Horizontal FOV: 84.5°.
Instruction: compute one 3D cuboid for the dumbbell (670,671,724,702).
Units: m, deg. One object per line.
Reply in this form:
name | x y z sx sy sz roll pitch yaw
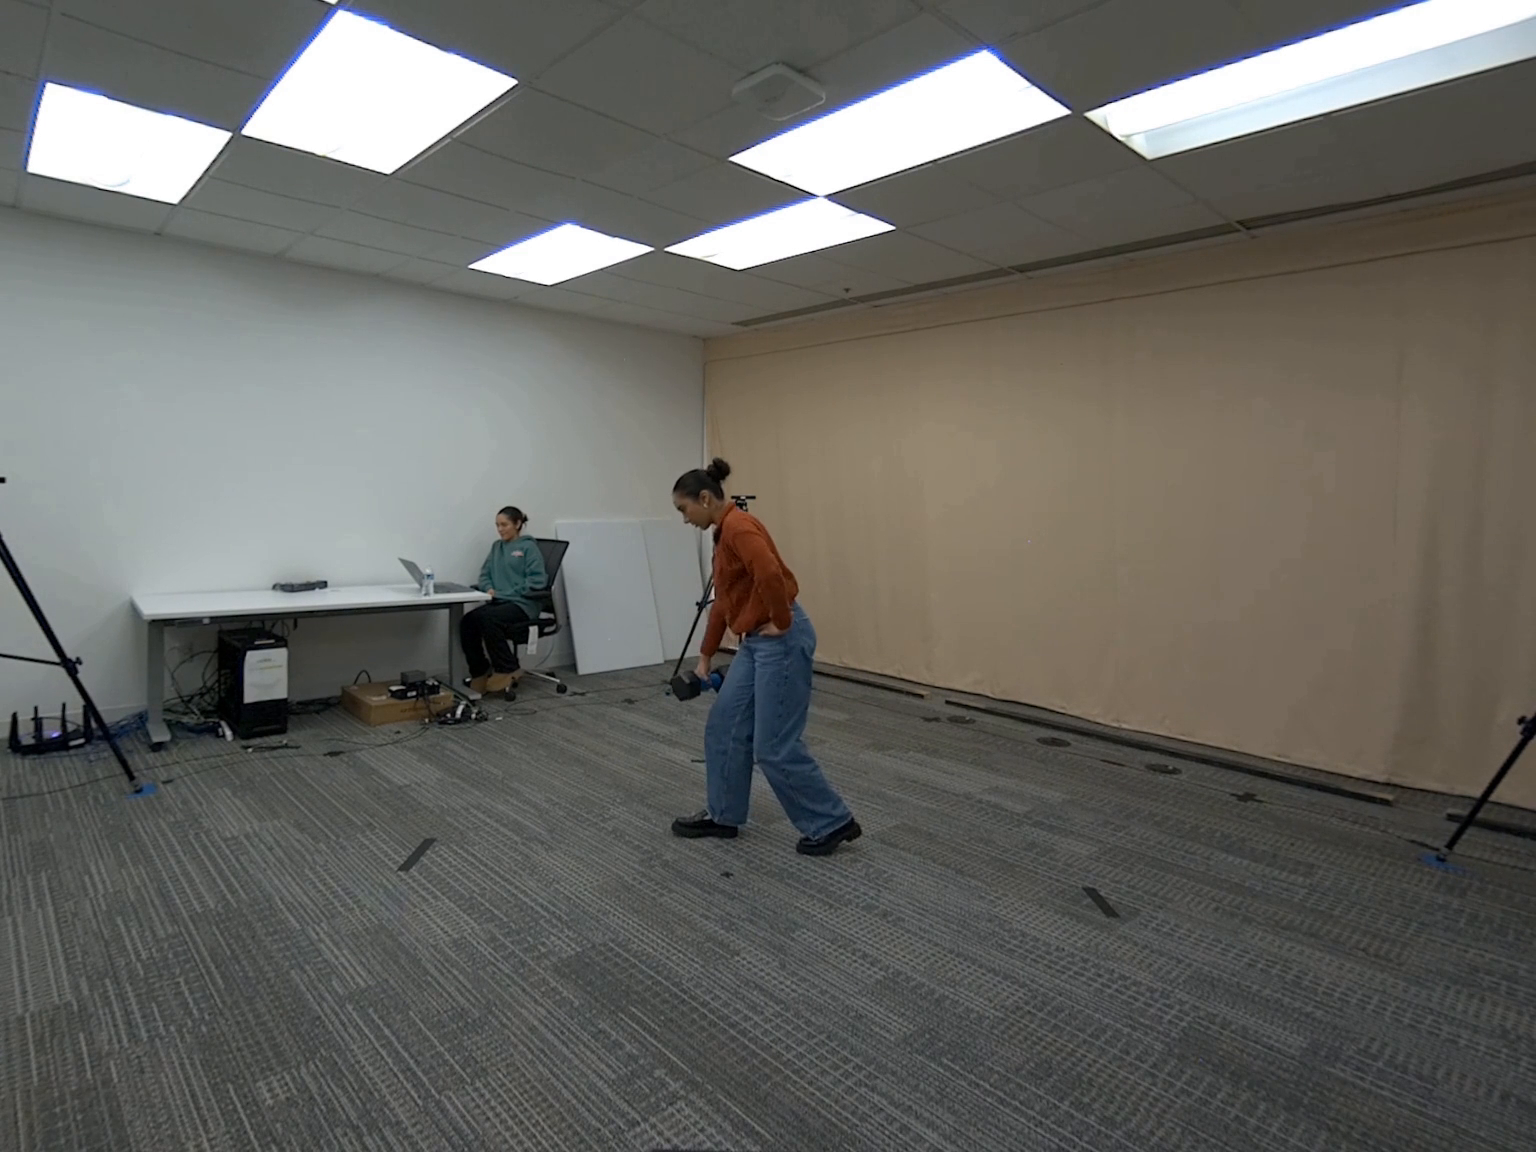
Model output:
dumbbell | -0.262 0.448 3.505 0.287 0.122 0.111 -3 9 -45
